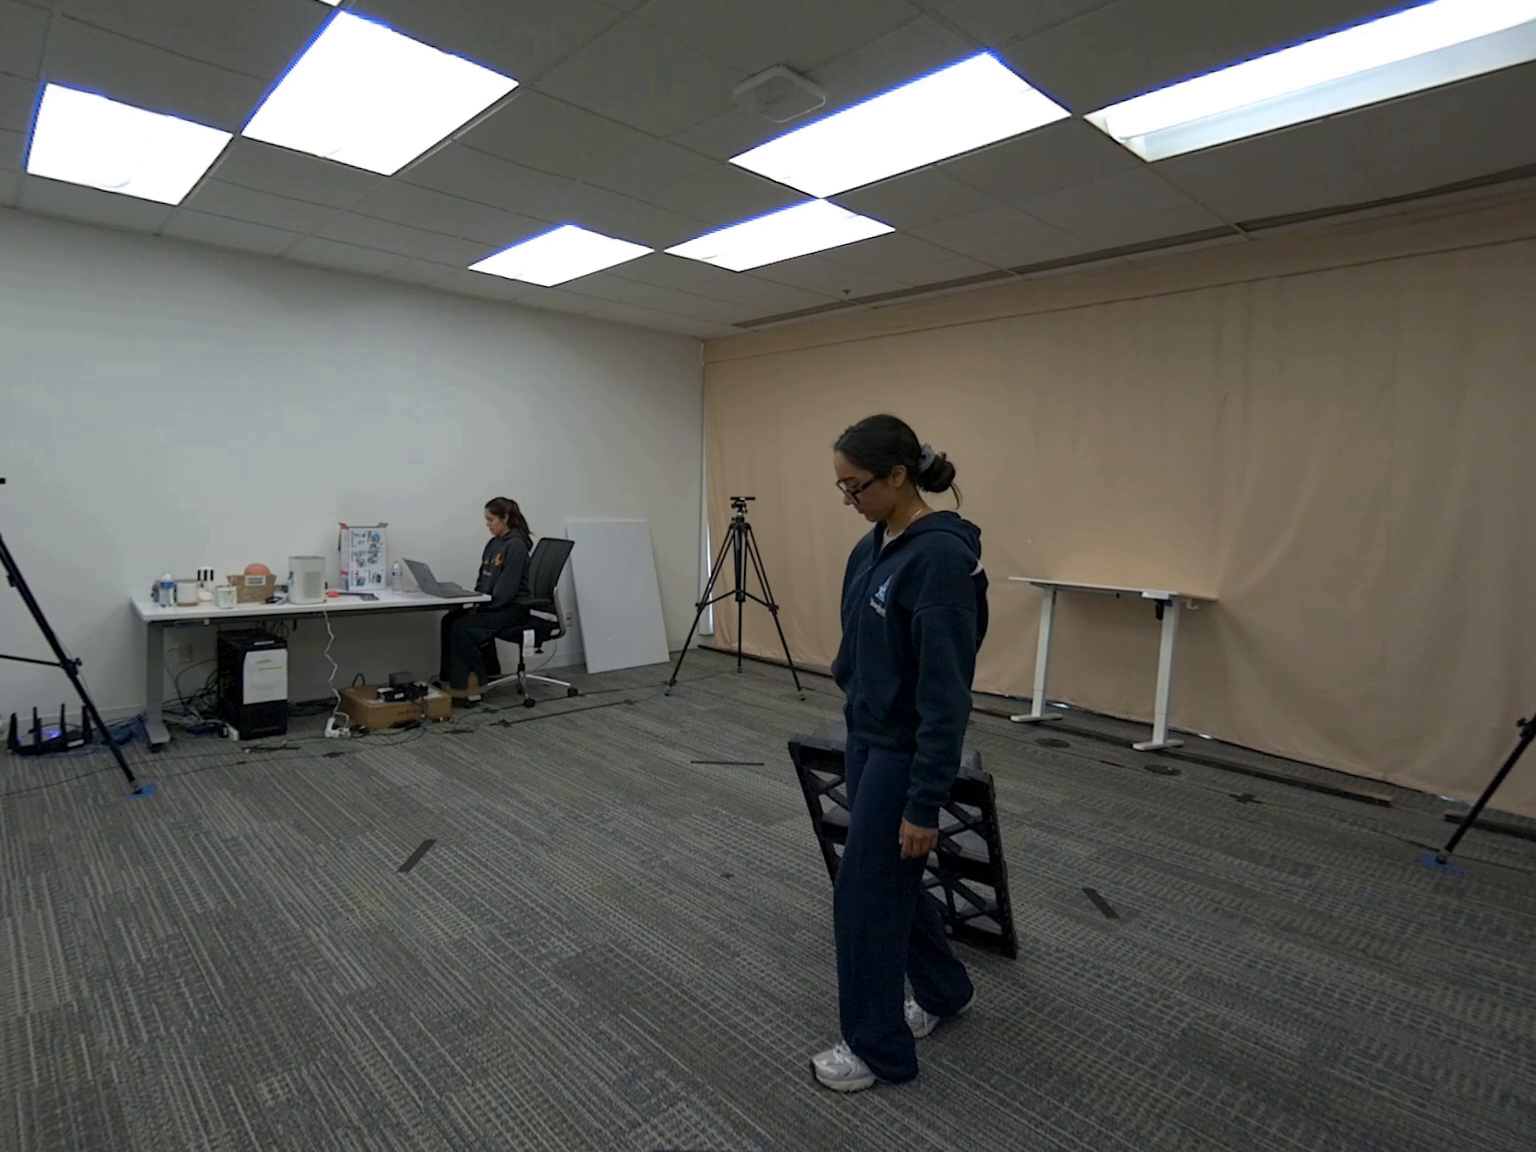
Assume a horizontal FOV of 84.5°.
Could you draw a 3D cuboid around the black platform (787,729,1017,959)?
[{"bbox_3d":[0.429,0.800,2.582,0.619,0.786,0.143,6,37,31],"label":"black platform"}]
